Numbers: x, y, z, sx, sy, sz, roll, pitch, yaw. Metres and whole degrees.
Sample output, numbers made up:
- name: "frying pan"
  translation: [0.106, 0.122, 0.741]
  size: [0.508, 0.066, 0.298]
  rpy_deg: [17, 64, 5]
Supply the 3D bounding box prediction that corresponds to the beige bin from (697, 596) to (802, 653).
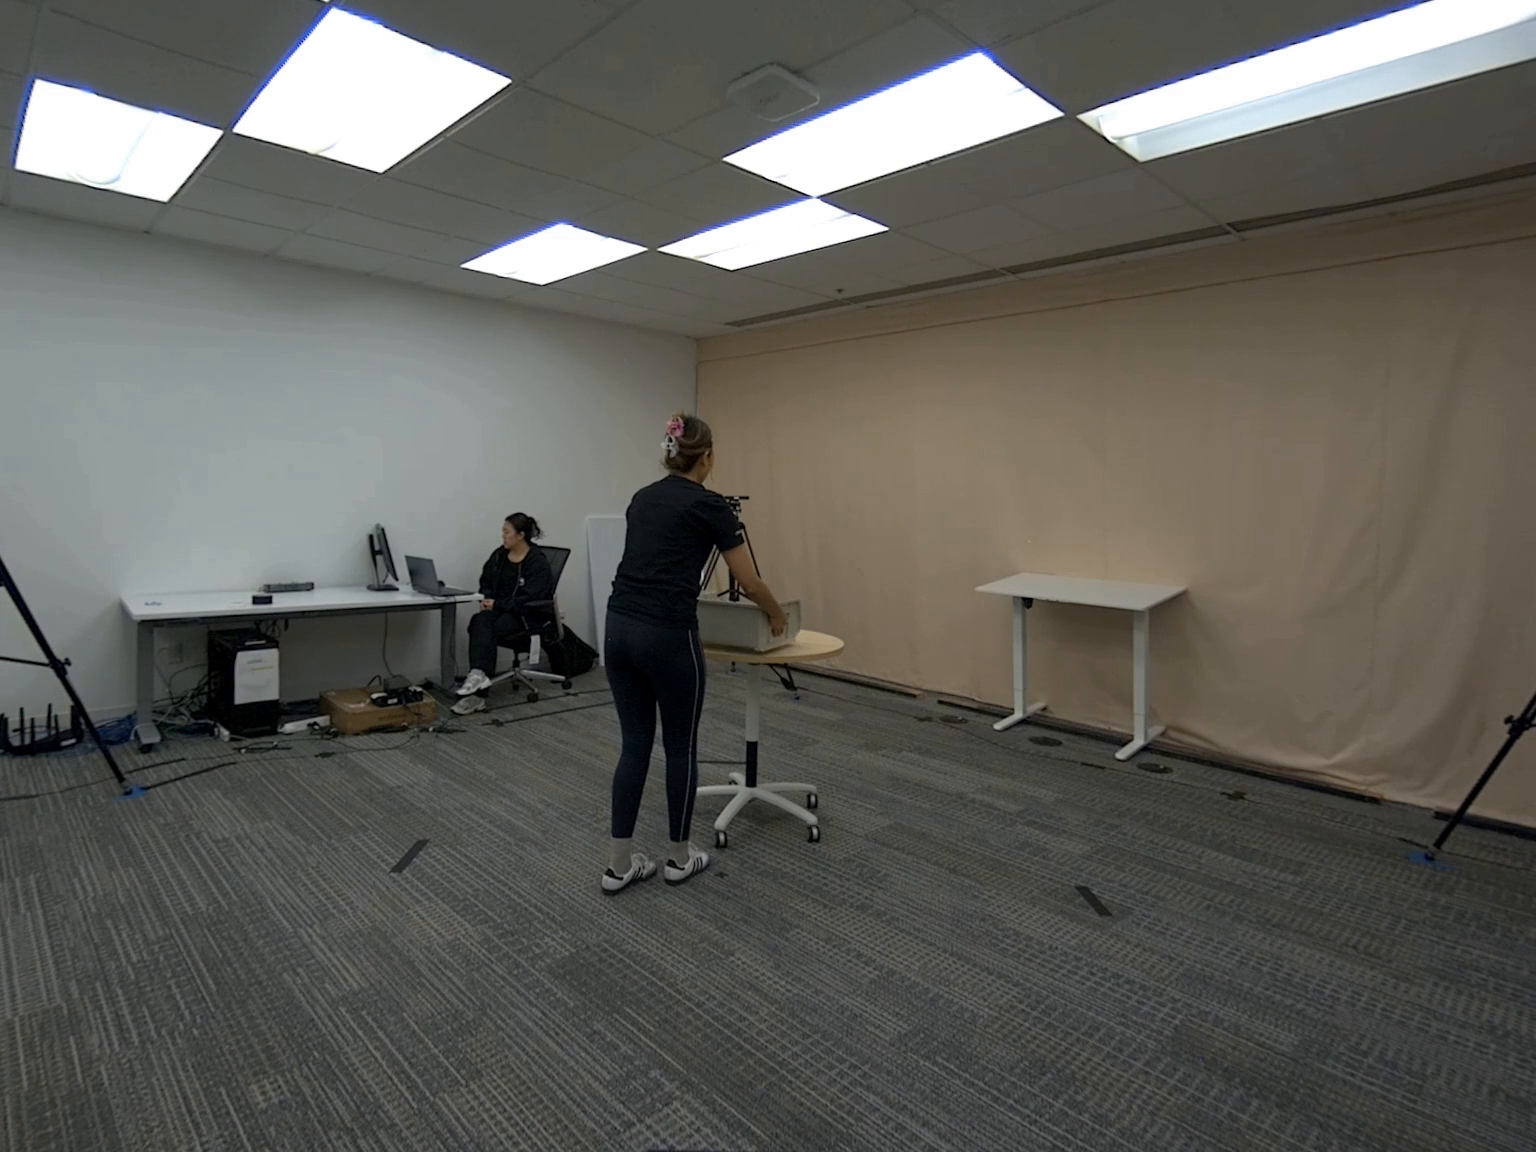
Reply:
- name: "beige bin"
  translation: [-0.133, 0.178, 3.484]
  size: [0.431, 0.188, 0.371]
  rpy_deg: [5, 7, 28]
